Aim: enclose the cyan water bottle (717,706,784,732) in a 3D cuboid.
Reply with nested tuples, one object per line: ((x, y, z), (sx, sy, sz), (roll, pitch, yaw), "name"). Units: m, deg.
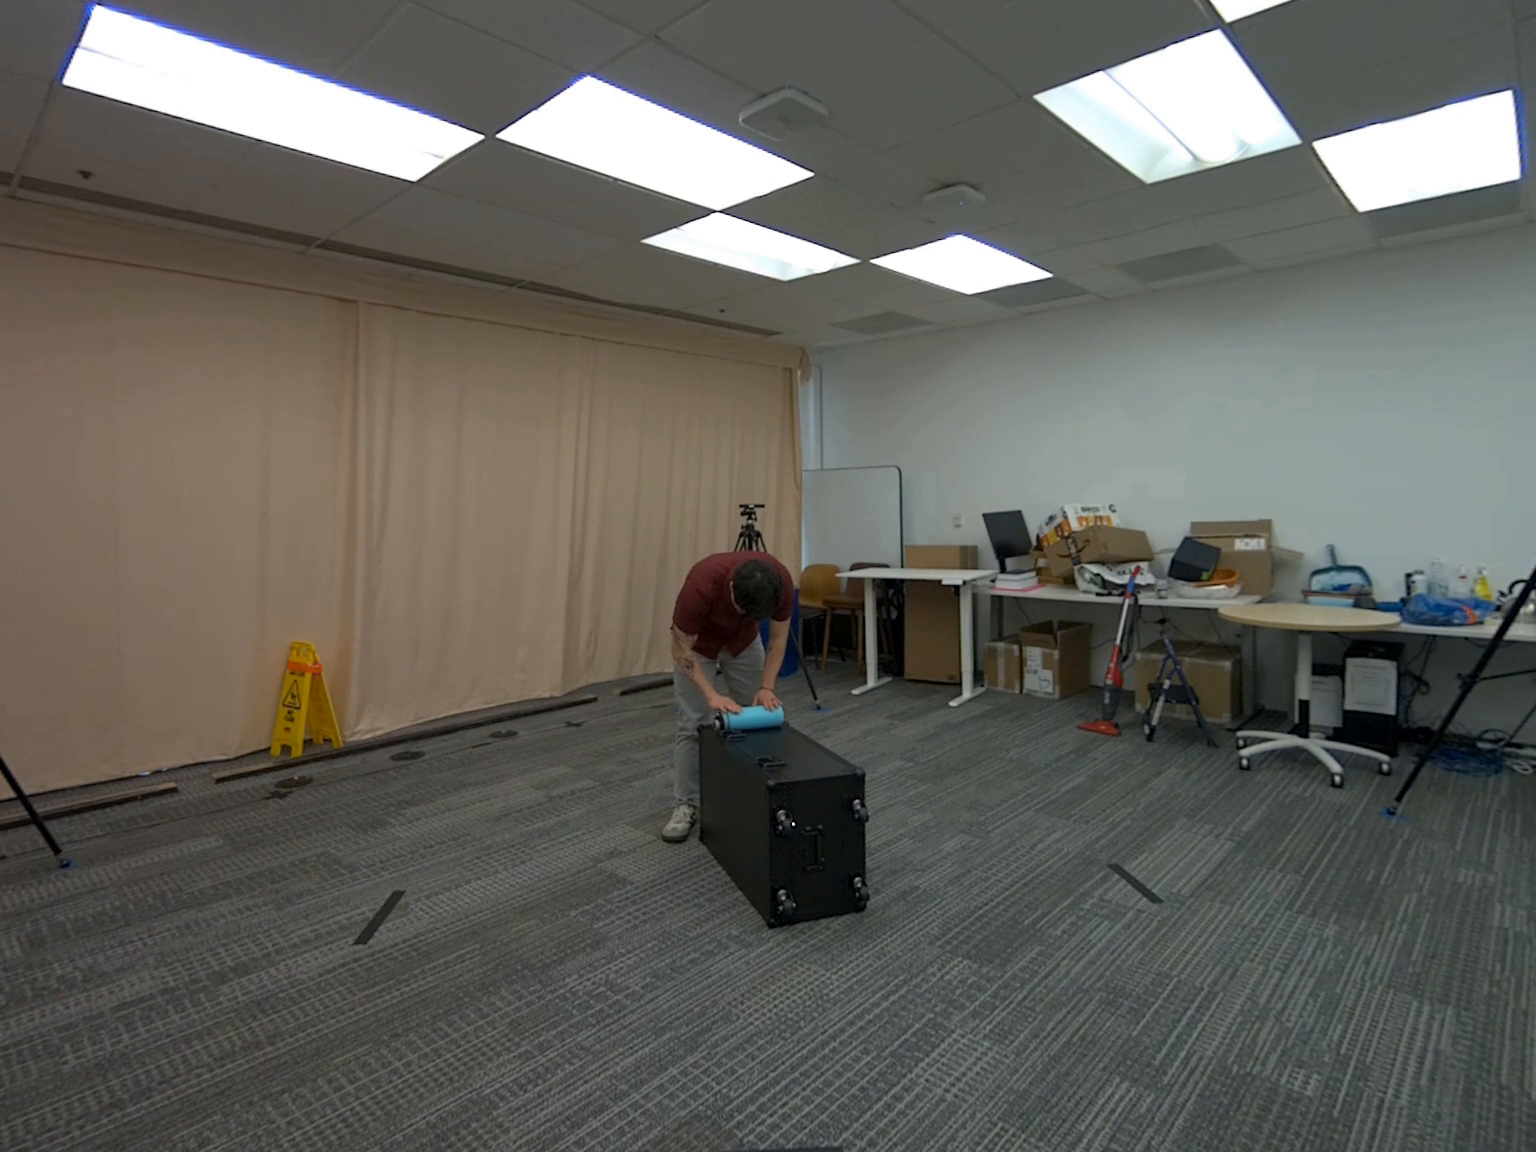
((-0.070, 0.580, 3.408), (0.279, 0.092, 0.094), (0, 4, -13), "cyan water bottle")
